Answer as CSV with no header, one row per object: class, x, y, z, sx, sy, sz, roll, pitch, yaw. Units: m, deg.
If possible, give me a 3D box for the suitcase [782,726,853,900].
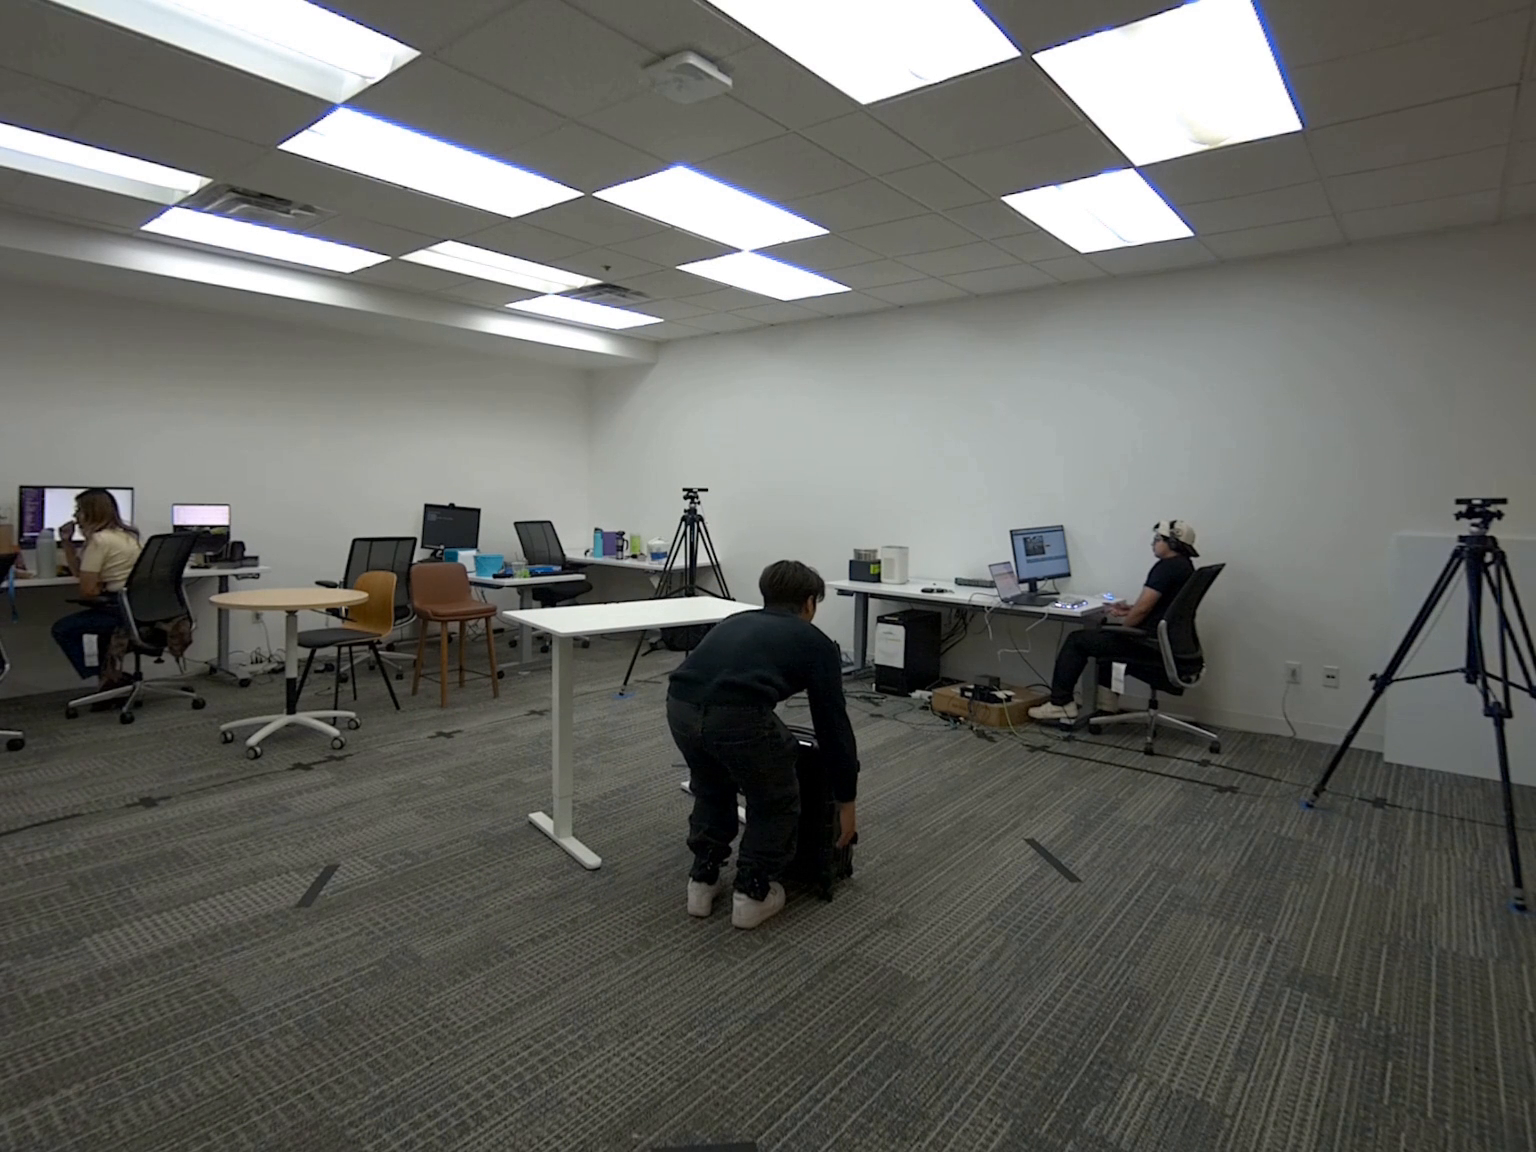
suitcase,0.112,0.807,3.035,0.386,0.547,0.242,4,4,27
